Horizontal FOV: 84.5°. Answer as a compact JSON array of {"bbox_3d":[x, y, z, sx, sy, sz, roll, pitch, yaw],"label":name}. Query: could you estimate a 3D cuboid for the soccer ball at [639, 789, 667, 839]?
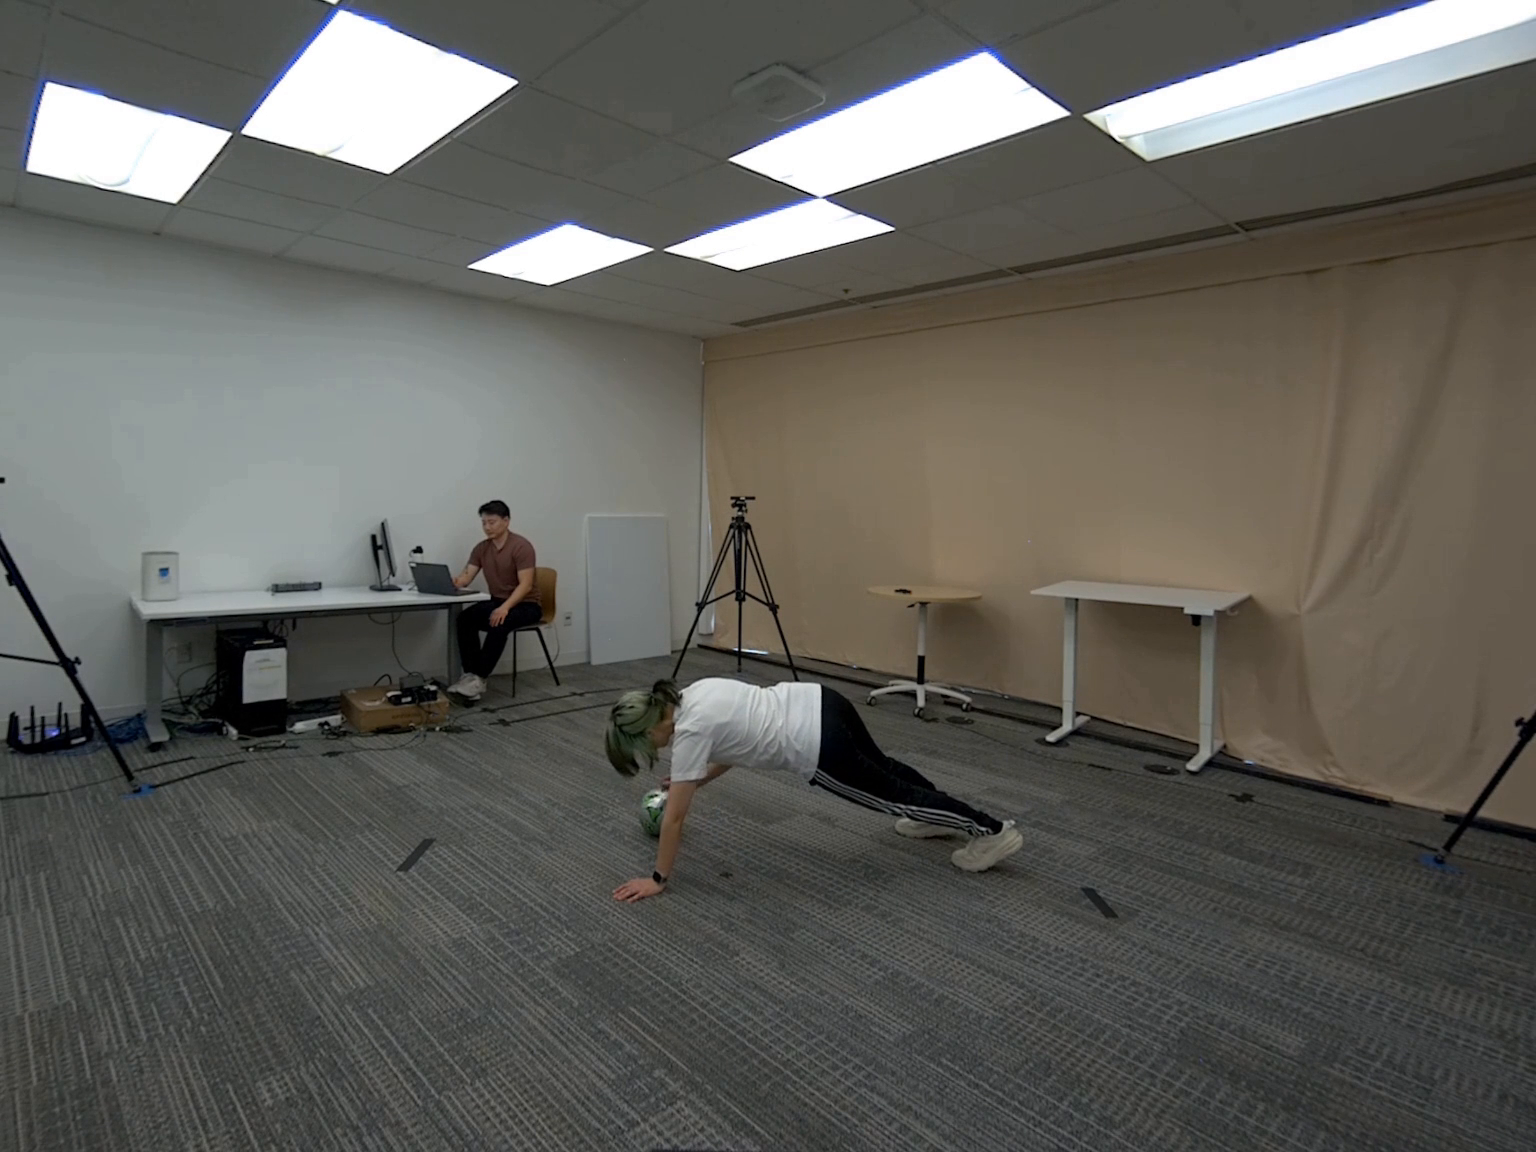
[{"bbox_3d":[-0.445,0.965,3.475,0.187,0.187,0.188,1,4,-1],"label":"soccer ball"}]
